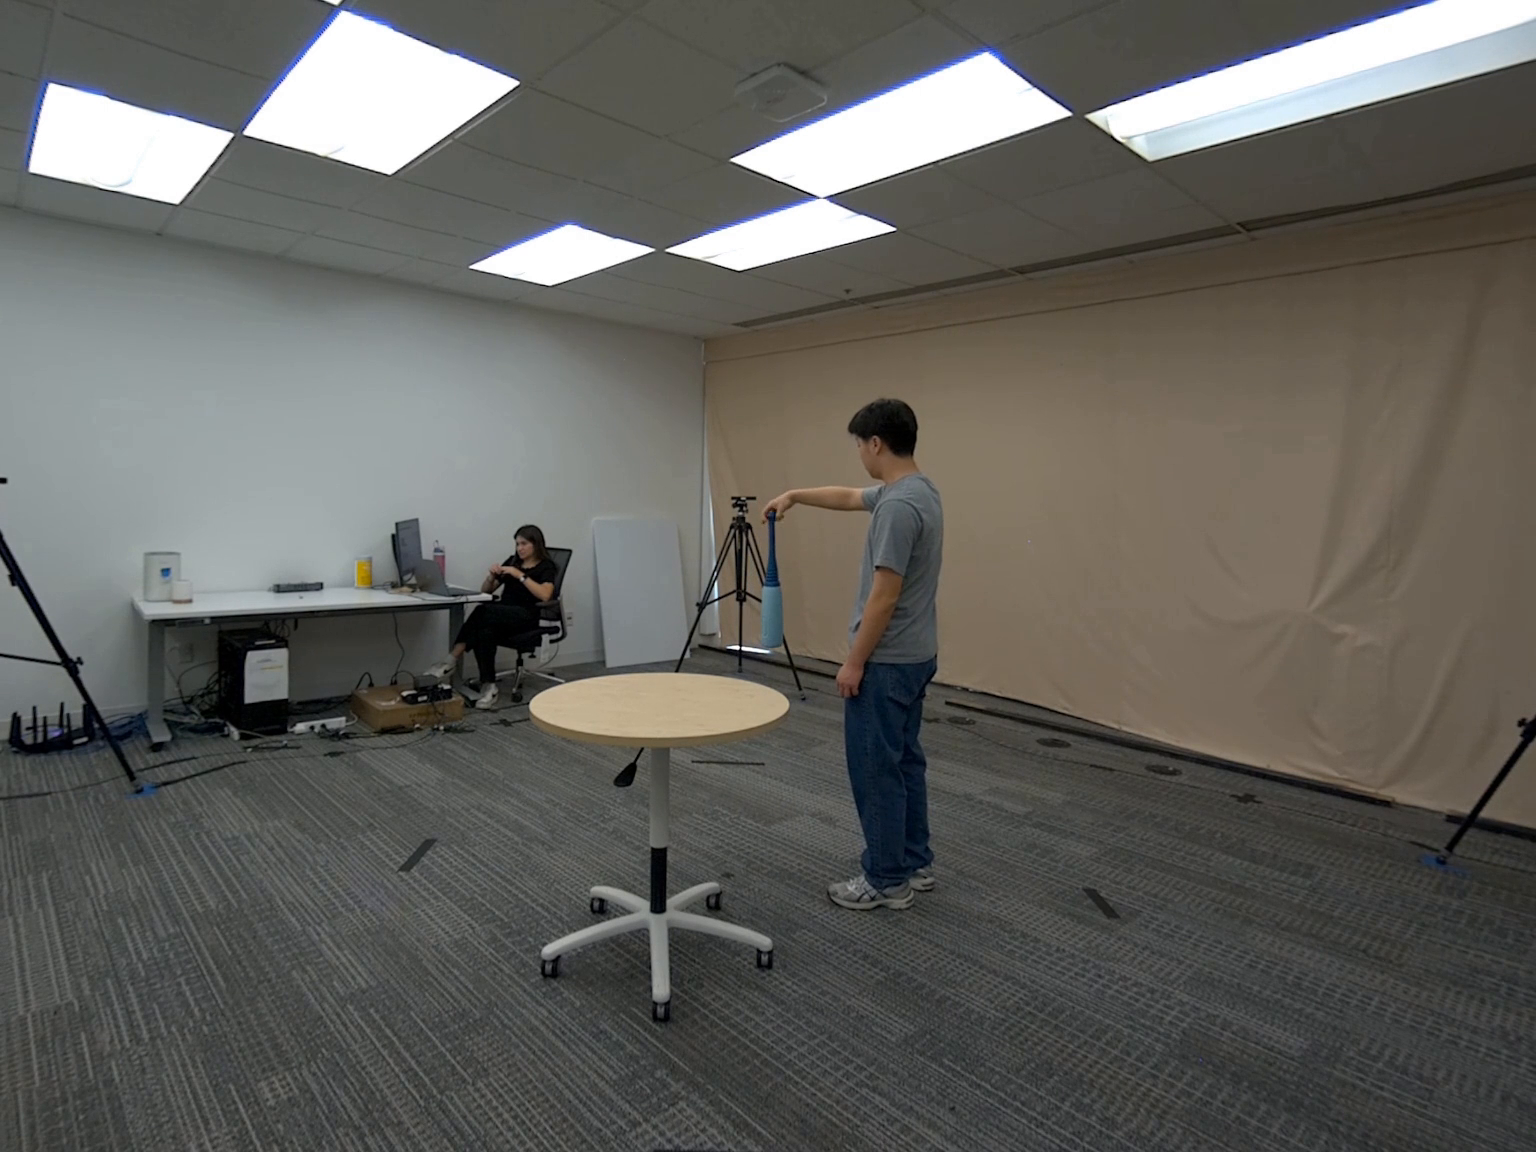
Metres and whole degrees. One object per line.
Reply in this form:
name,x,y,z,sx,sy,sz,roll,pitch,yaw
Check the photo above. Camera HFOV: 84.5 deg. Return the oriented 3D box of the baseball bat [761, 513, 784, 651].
baseball bat,0.008,0.018,3.368,0.089,0.541,0.089,-1,4,-1
